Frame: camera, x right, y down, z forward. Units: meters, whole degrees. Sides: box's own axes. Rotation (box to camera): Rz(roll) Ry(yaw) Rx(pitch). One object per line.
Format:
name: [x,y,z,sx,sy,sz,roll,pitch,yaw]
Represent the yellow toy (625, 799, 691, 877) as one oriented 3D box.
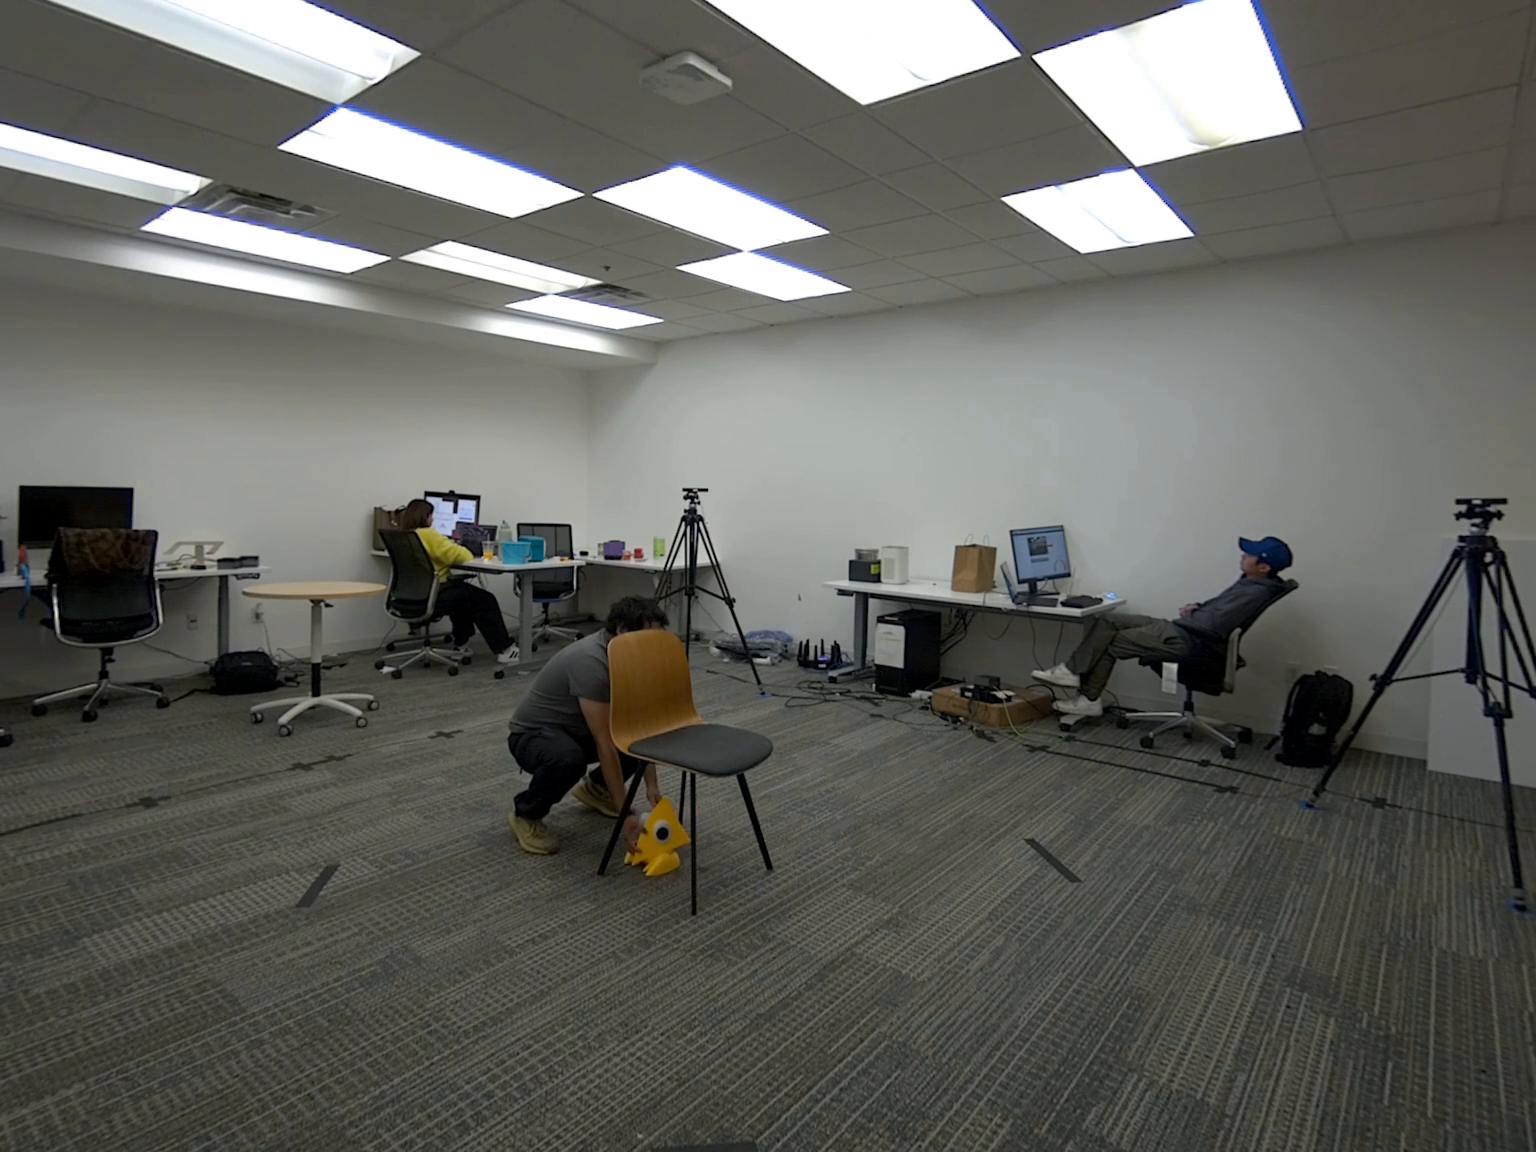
yellow toy: [-0.432,0.941,3.146,0.188,0.229,0.212,-7,9,-44]
